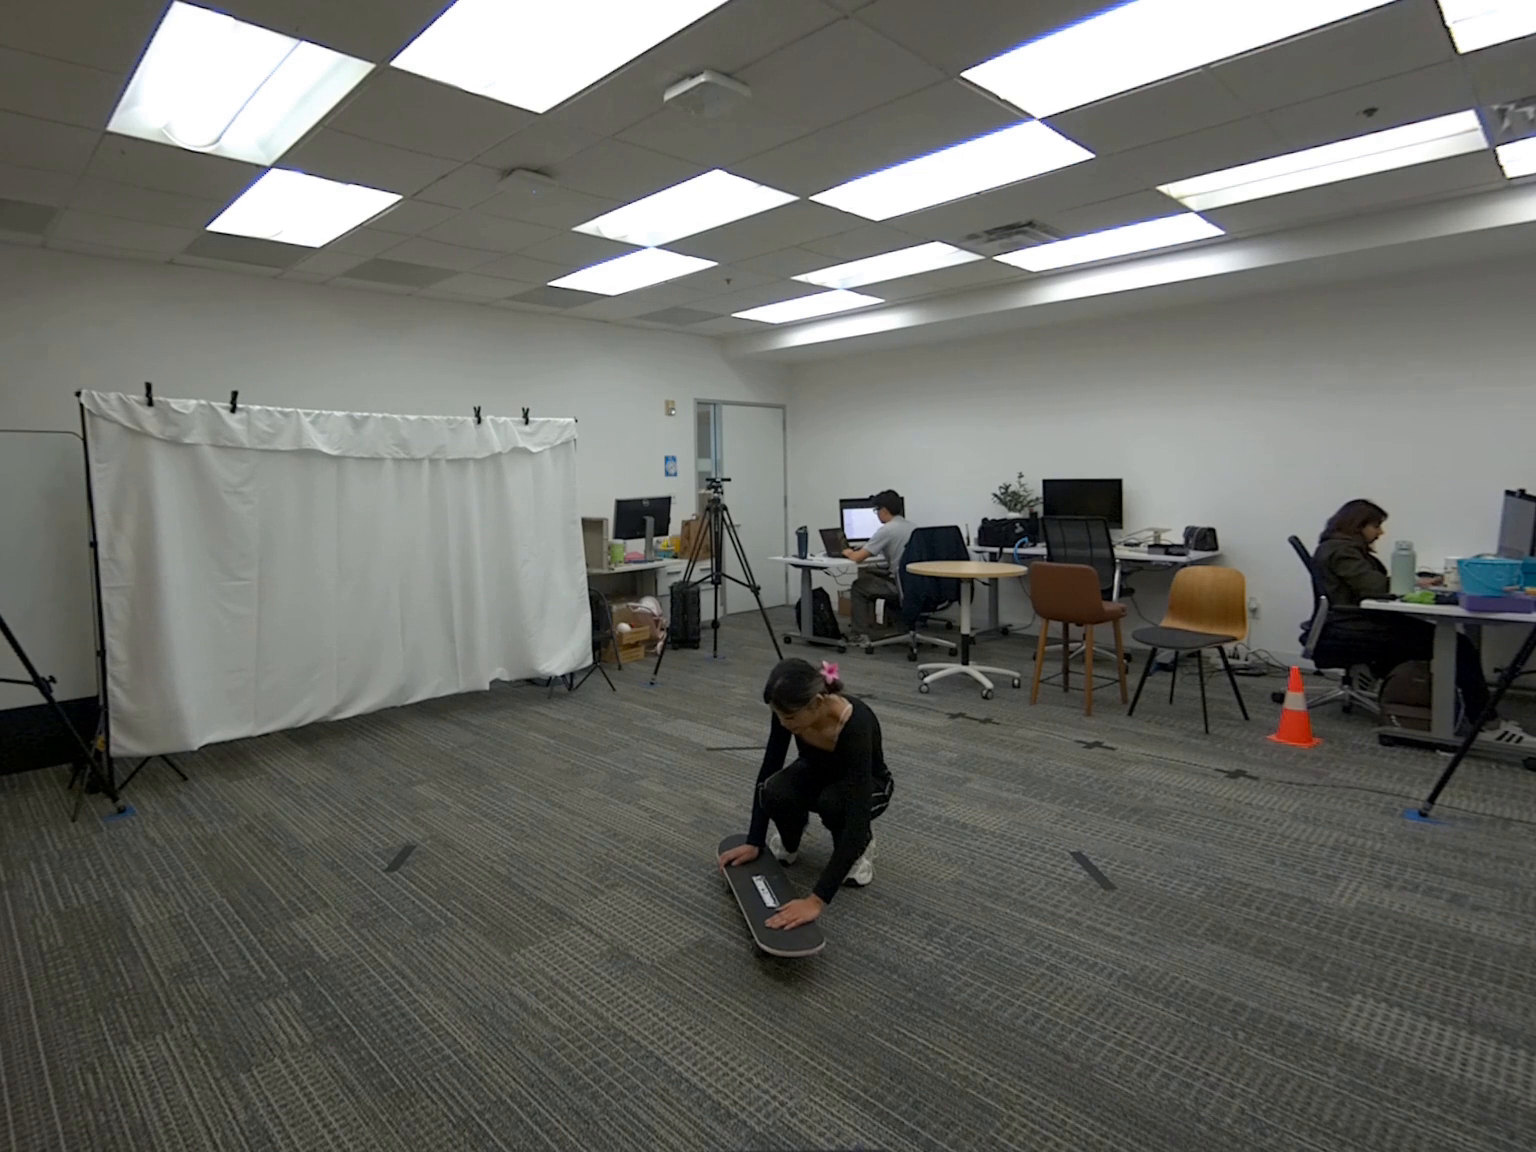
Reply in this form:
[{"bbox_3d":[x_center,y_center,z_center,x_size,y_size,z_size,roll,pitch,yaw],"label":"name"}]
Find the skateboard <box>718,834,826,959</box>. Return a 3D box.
[{"bbox_3d":[-0.002,1.032,2.706,0.191,0.110,0.799,-3,6,-15],"label":"skateboard"}]
